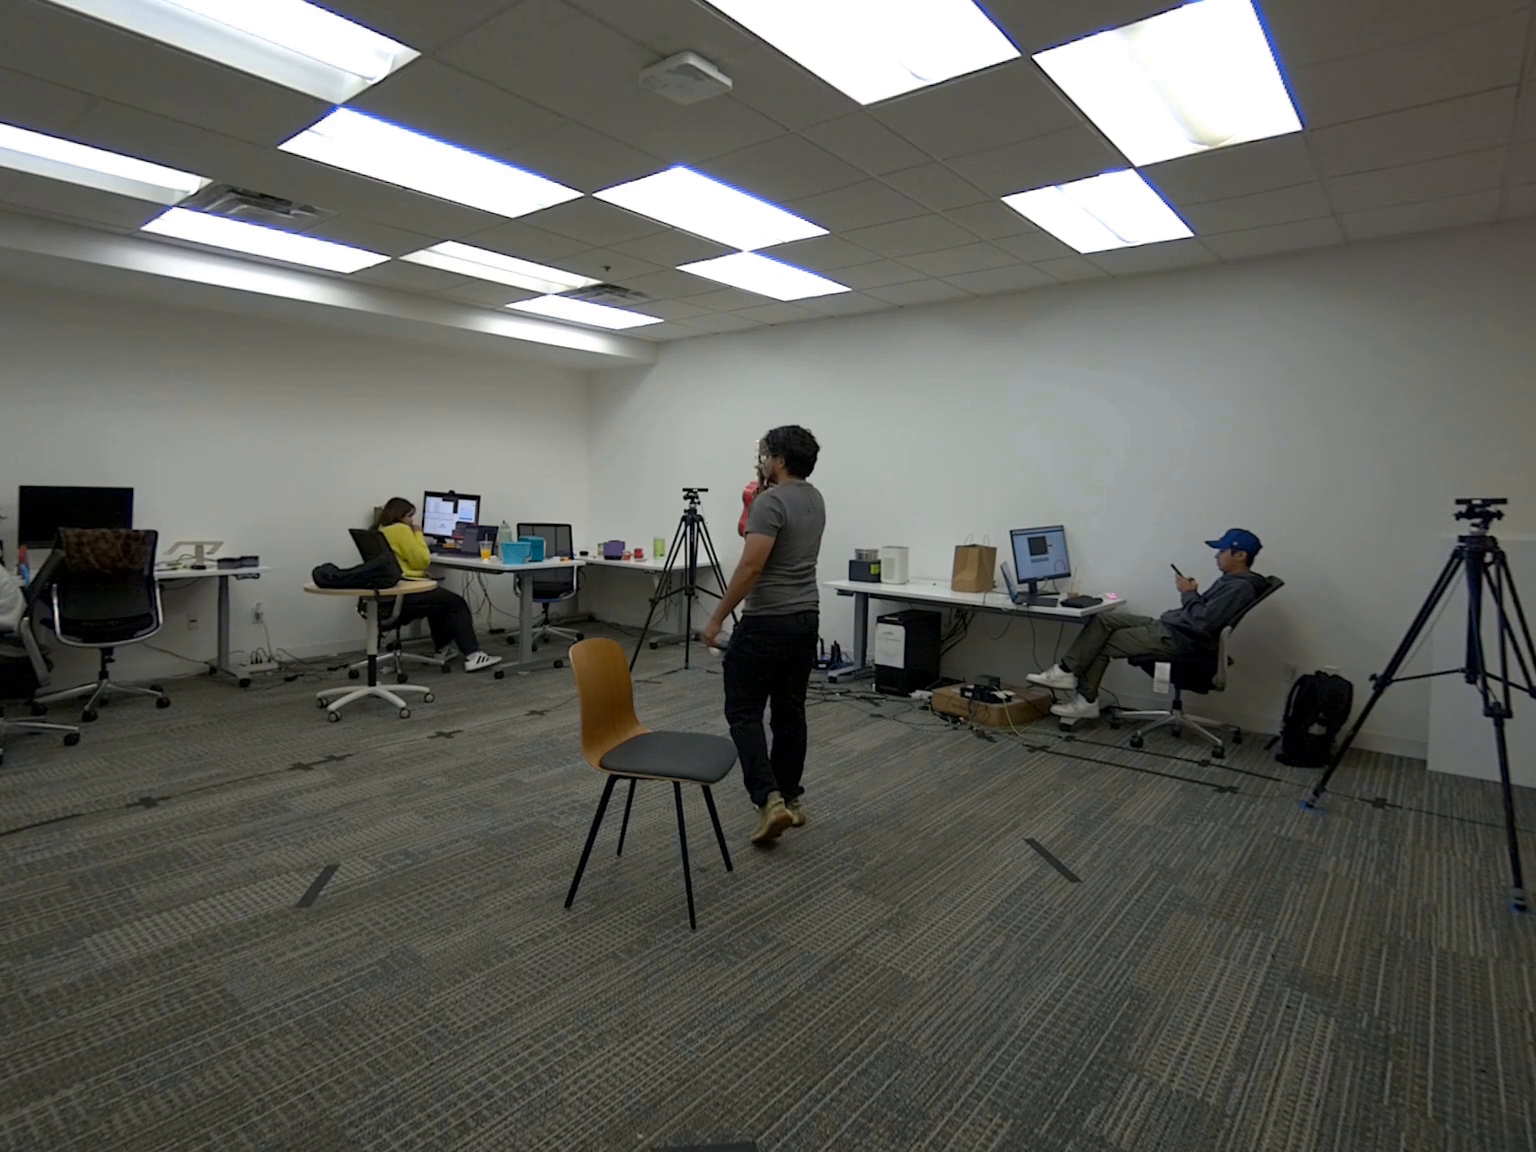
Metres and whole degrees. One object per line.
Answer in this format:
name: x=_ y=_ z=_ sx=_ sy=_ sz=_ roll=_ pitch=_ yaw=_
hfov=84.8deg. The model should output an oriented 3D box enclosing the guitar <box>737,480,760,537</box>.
guitar: x=-0.048 y=-0.424 z=4.095 sx=0.073 sy=0.494 sz=0.187 roll=17 pitch=12 yaw=37
